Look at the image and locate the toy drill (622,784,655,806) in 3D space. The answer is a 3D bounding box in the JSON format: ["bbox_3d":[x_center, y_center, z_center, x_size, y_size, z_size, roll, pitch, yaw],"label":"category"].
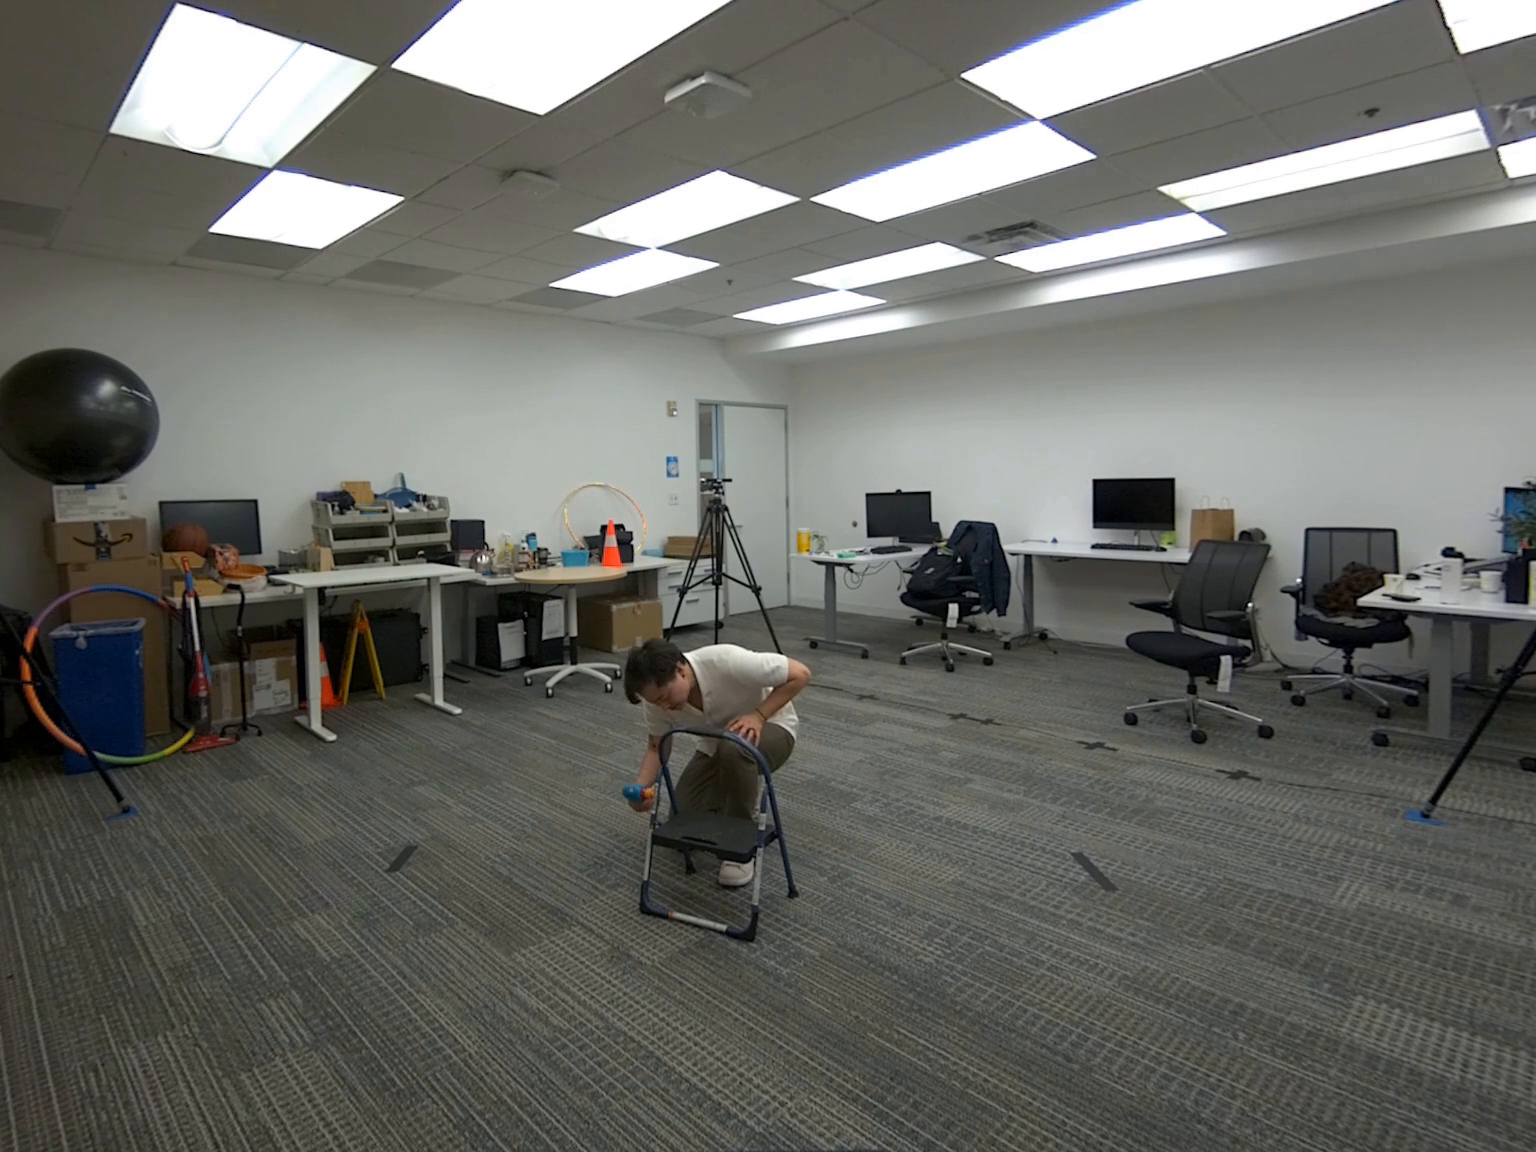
[{"bbox_3d":[-0.417,0.785,3.033,0.173,0.062,0.140,-9,-31,32],"label":"toy drill"}]
